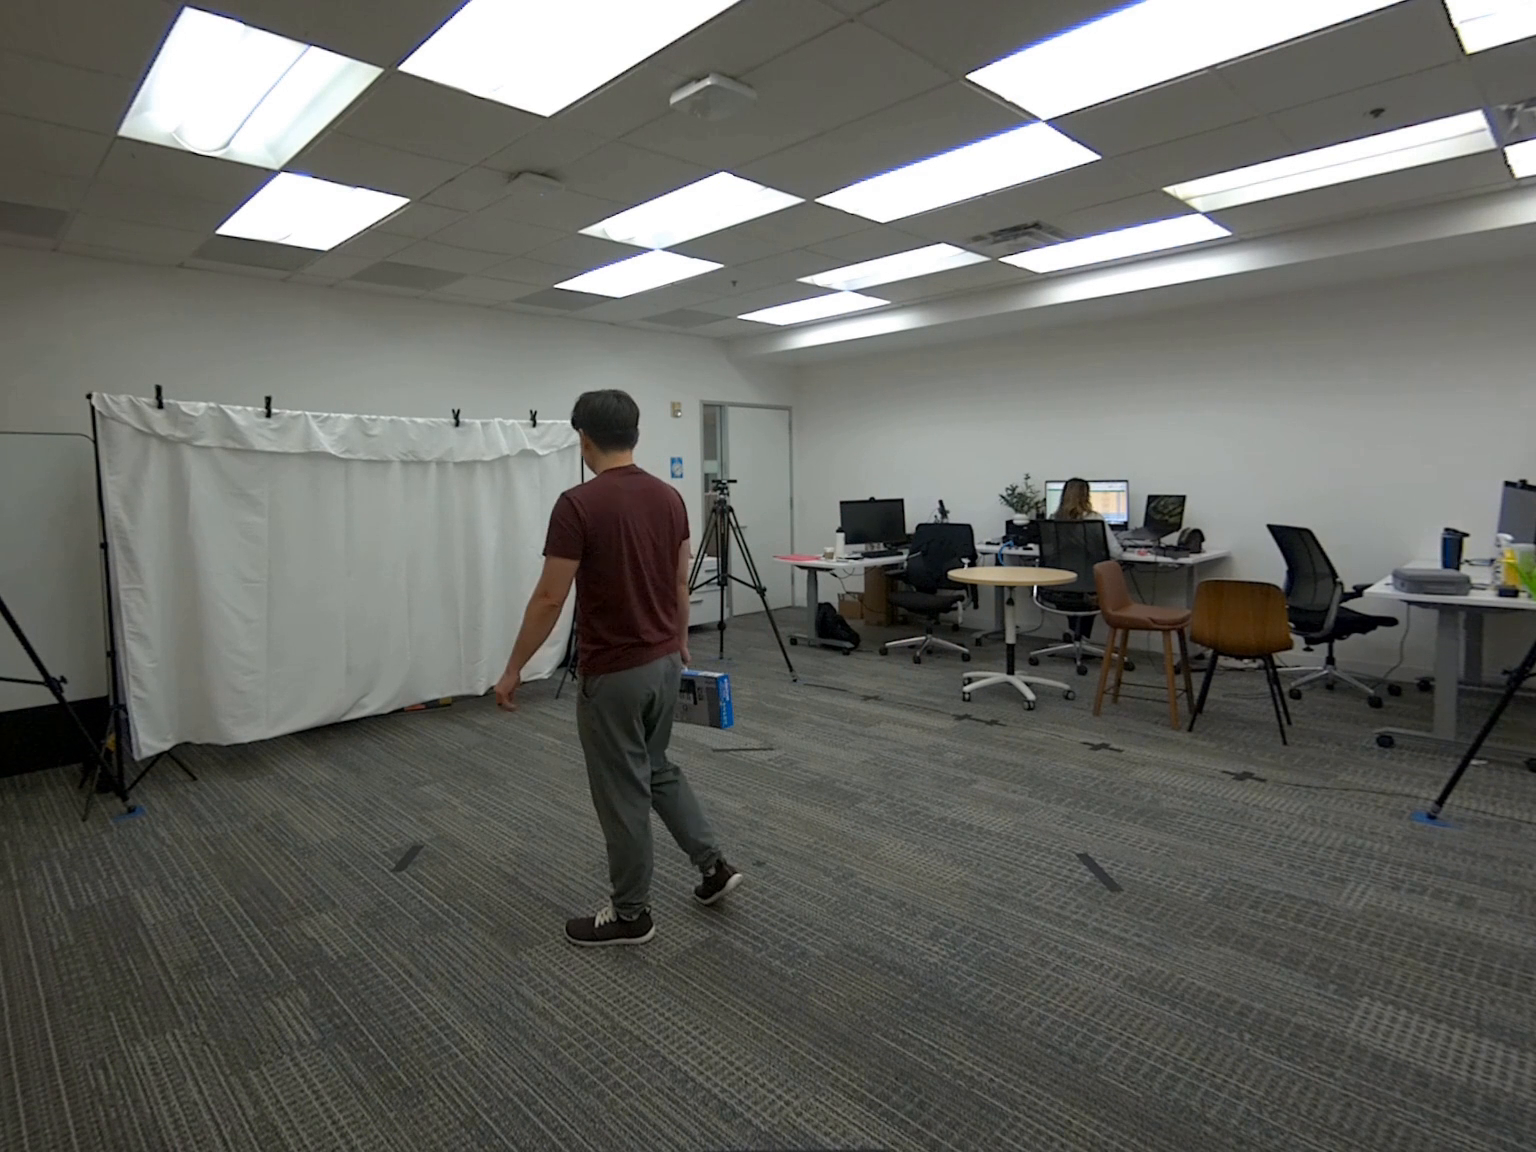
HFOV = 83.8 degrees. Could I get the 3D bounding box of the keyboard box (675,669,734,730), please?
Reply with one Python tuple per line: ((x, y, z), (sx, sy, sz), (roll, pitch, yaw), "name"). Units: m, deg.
((-0.300, 0.410, 2.924), (0.449, 0.175, 0.057), (-1, 4, 43), "keyboard box")
